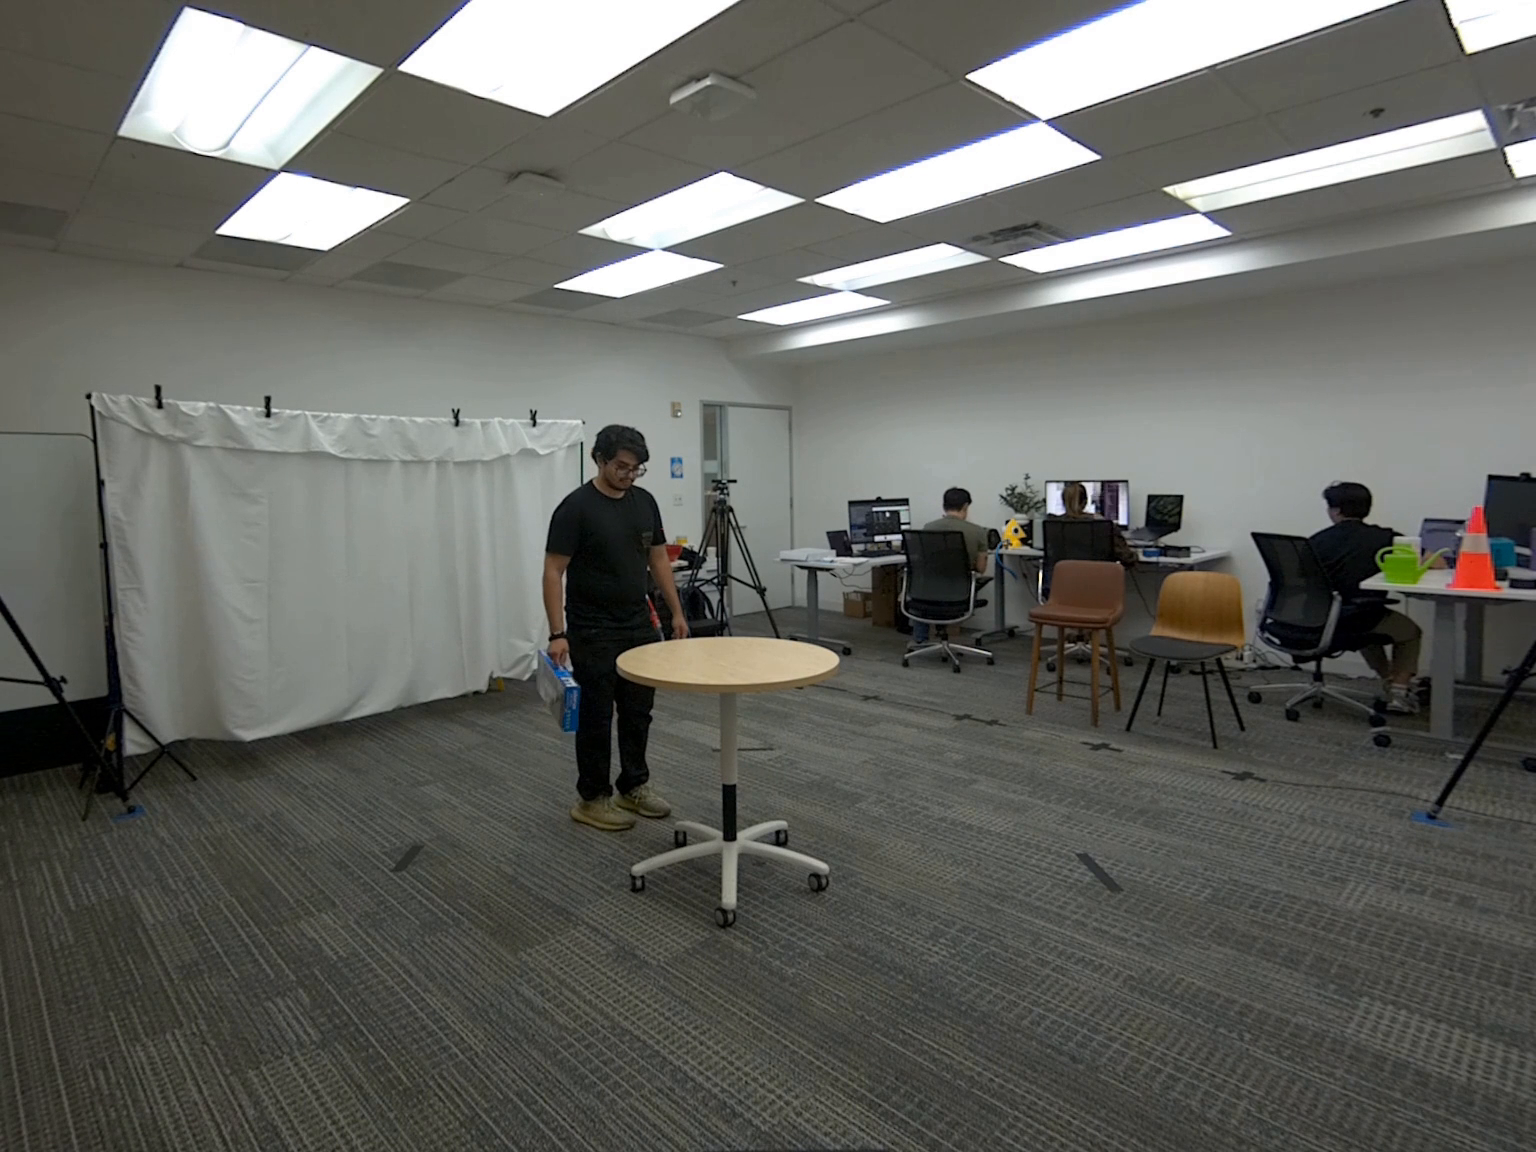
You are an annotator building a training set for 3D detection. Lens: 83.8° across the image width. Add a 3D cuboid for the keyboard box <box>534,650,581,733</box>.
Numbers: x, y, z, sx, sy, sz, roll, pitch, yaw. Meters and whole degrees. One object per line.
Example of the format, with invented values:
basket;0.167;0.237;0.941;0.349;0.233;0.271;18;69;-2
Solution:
keyboard box;-0.814;0.428;3.303;0.058;0.174;0.451;-2;14;-27
